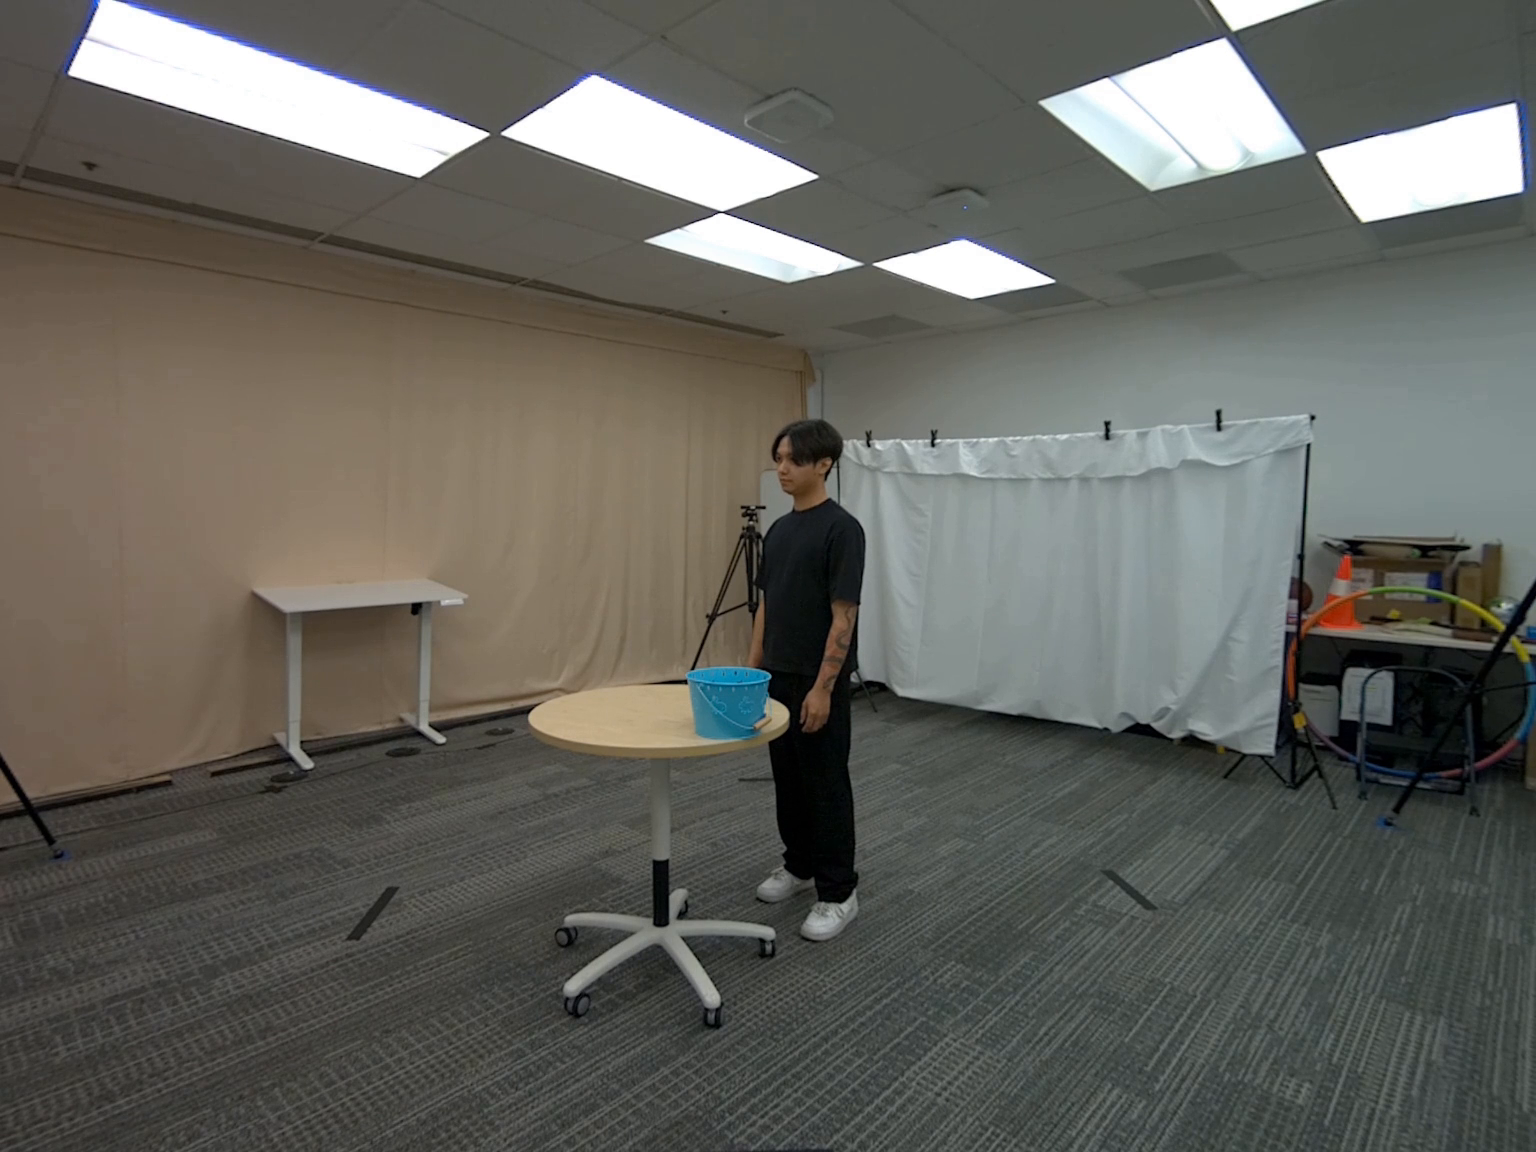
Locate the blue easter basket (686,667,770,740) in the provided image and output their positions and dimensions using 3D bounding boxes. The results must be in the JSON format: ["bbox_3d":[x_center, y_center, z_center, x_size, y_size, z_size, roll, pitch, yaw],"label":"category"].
[{"bbox_3d":[-0.107,0.352,2.248,0.243,0.155,0.244,-1,3,-2],"label":"blue easter basket"}]
